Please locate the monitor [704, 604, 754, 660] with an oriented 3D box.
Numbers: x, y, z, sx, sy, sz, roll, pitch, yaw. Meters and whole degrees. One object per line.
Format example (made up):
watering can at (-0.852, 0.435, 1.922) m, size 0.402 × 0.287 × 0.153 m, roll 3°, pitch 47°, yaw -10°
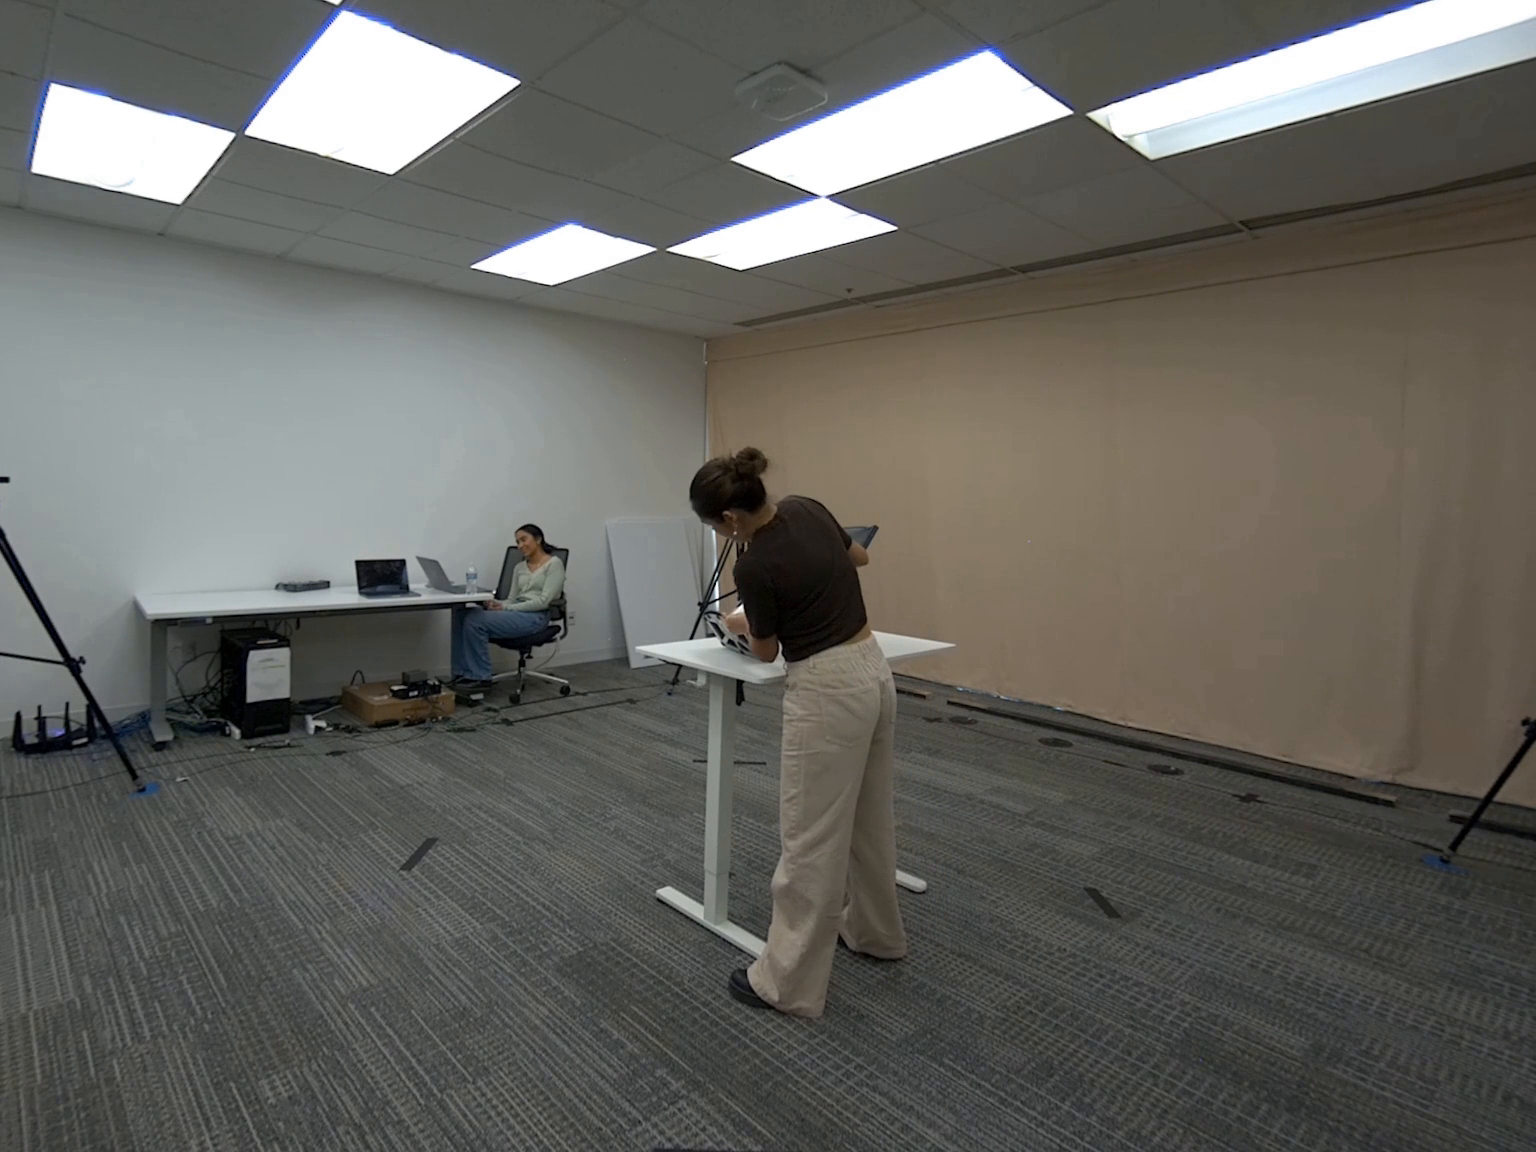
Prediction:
monitor at (0.042, 0.031, 2.770) m, size 0.522 × 0.183 × 0.550 m, roll -46°, pitch 23°, yaw -20°
